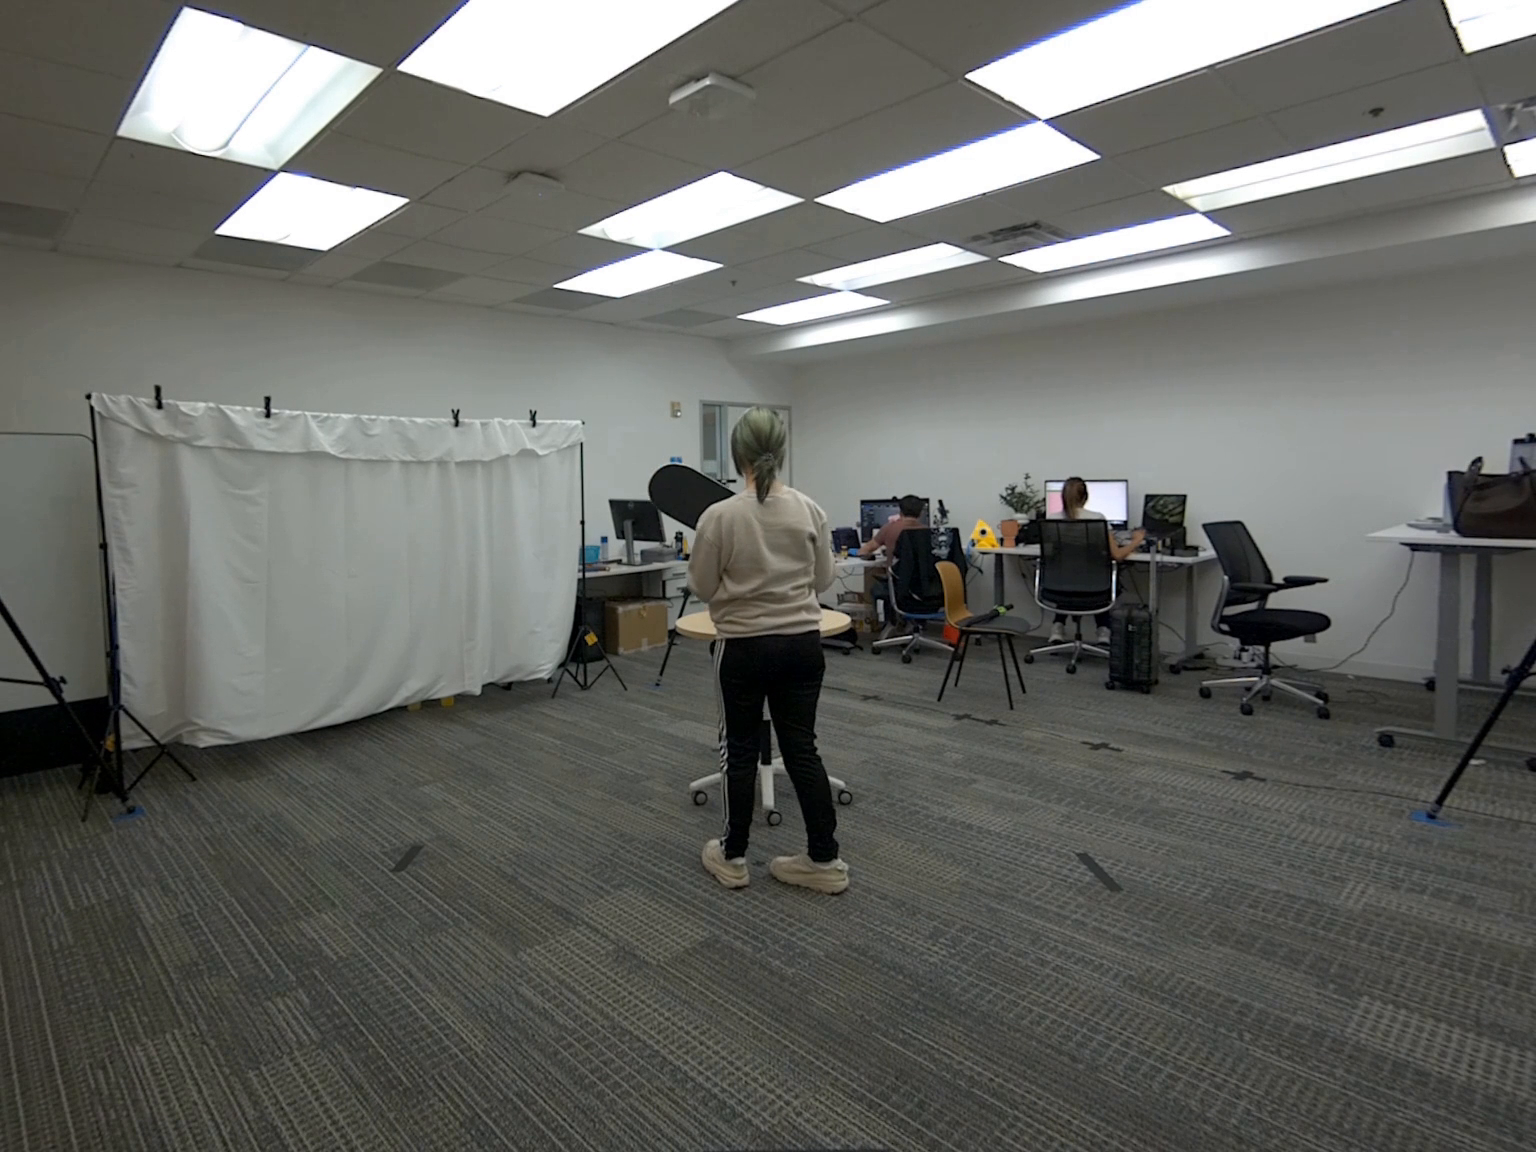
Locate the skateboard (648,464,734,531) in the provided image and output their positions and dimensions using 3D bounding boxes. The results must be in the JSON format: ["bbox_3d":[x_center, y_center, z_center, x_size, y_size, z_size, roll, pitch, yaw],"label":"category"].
[{"bbox_3d":[-0.092,-0.179,3.138,0.769,0.193,0.113,28,4,-17],"label":"skateboard"}]
